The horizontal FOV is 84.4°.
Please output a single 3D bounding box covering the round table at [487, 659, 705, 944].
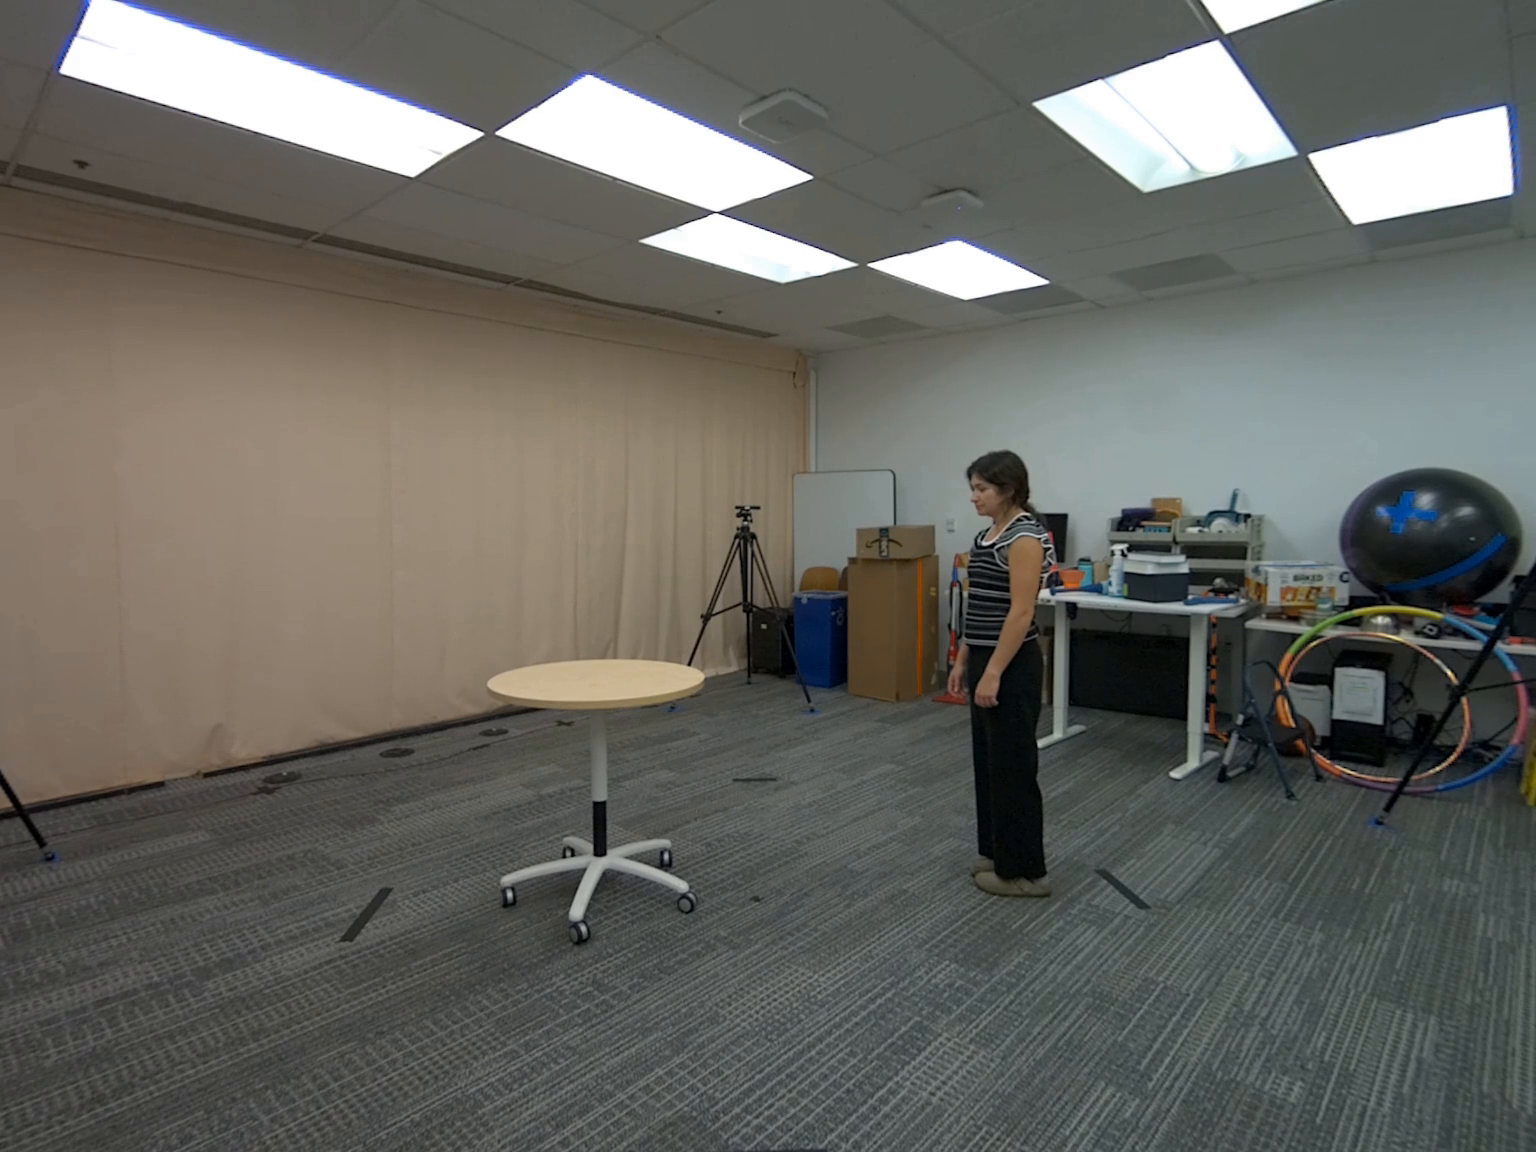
[{"bbox_3d":[-0.605,0.754,3.039,0.784,0.785,0.788,0,3,-2],"label":"round table"}]
